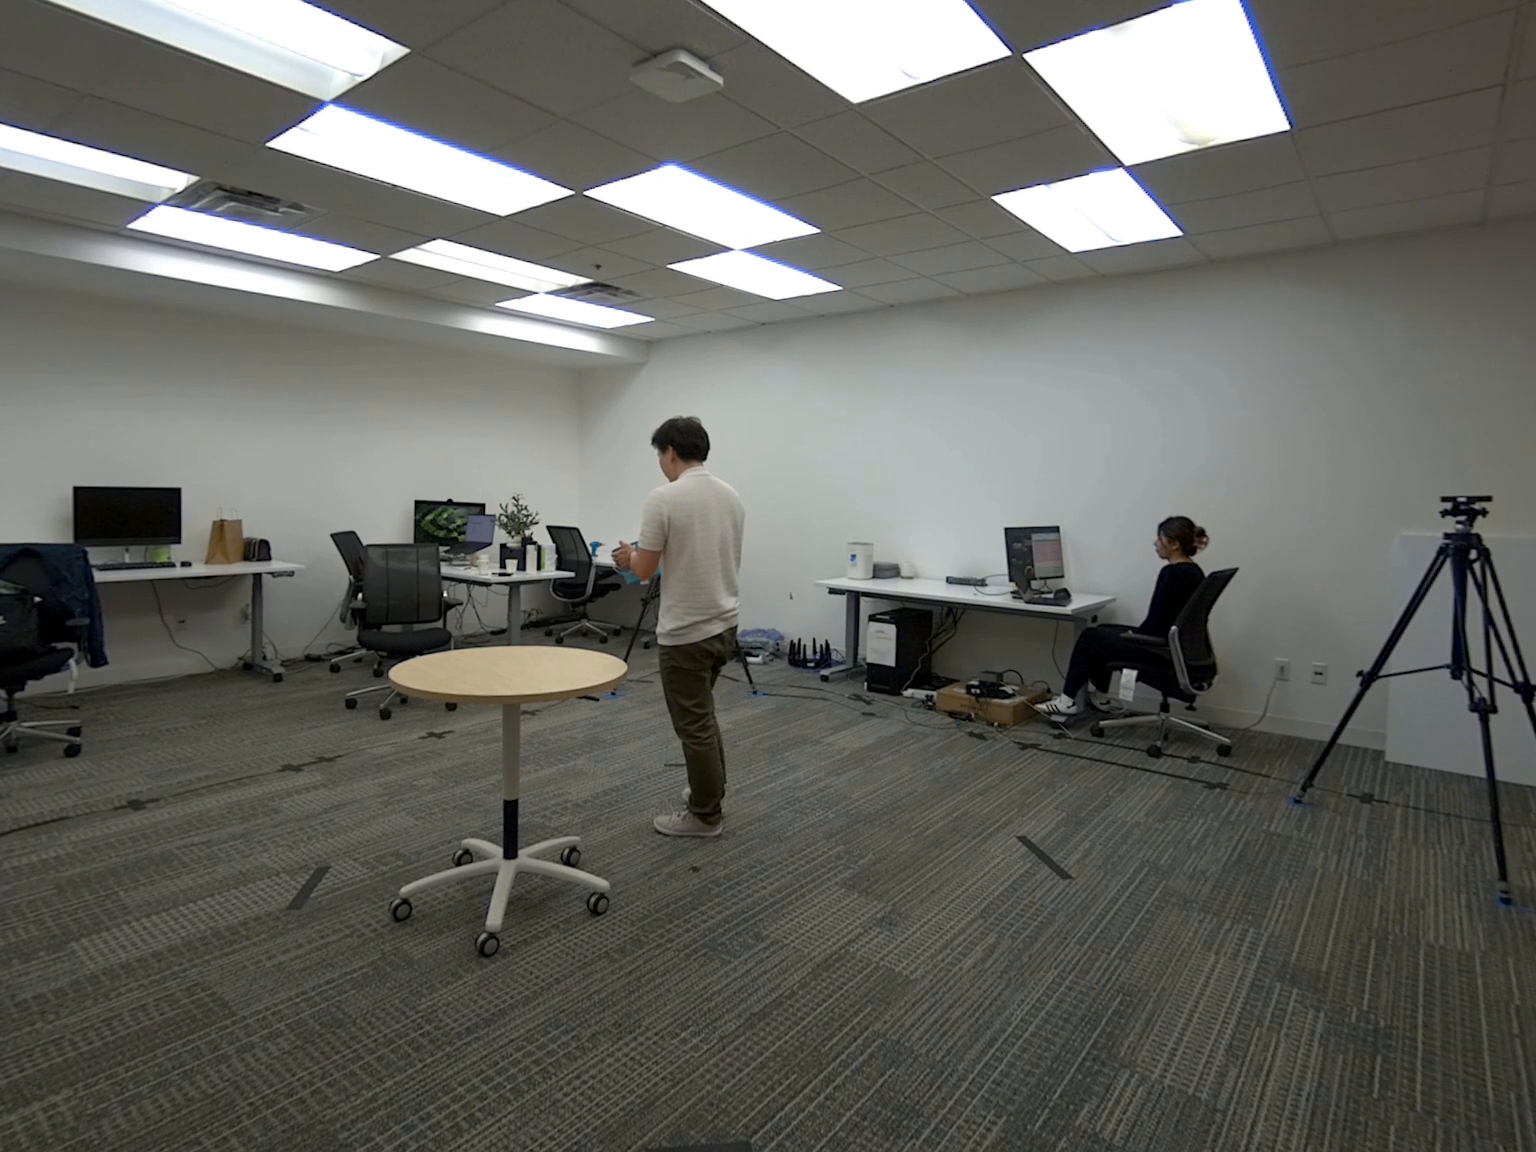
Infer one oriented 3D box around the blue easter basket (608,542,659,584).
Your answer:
[{"bbox_3d":[-0.537,-0.064,3.605,0.243,0.157,0.243,-17,-3,-3],"label":"blue easter basket"}]
